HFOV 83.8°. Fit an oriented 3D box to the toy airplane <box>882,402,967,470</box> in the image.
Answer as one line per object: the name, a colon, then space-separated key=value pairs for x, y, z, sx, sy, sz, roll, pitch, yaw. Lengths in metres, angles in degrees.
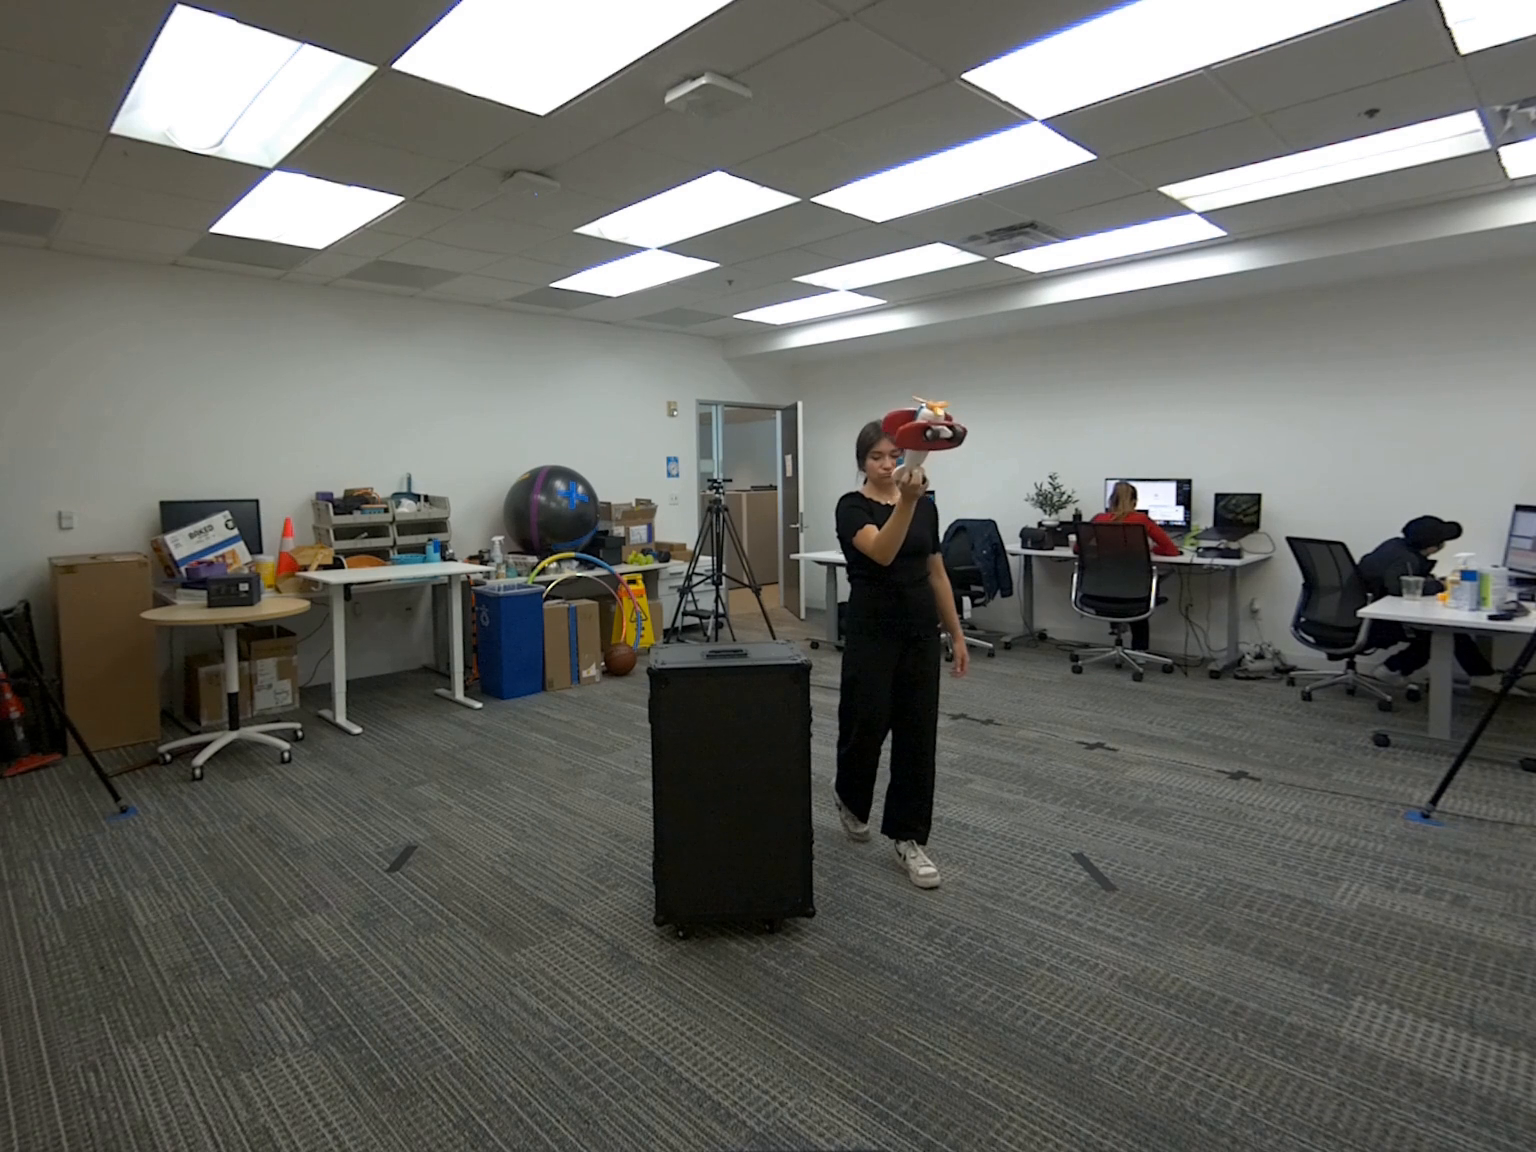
toy airplane: x=0.447 y=-0.396 z=2.571 sx=0.260 sy=0.162 sz=0.242 roll=-40 pitch=-38 yaw=24
